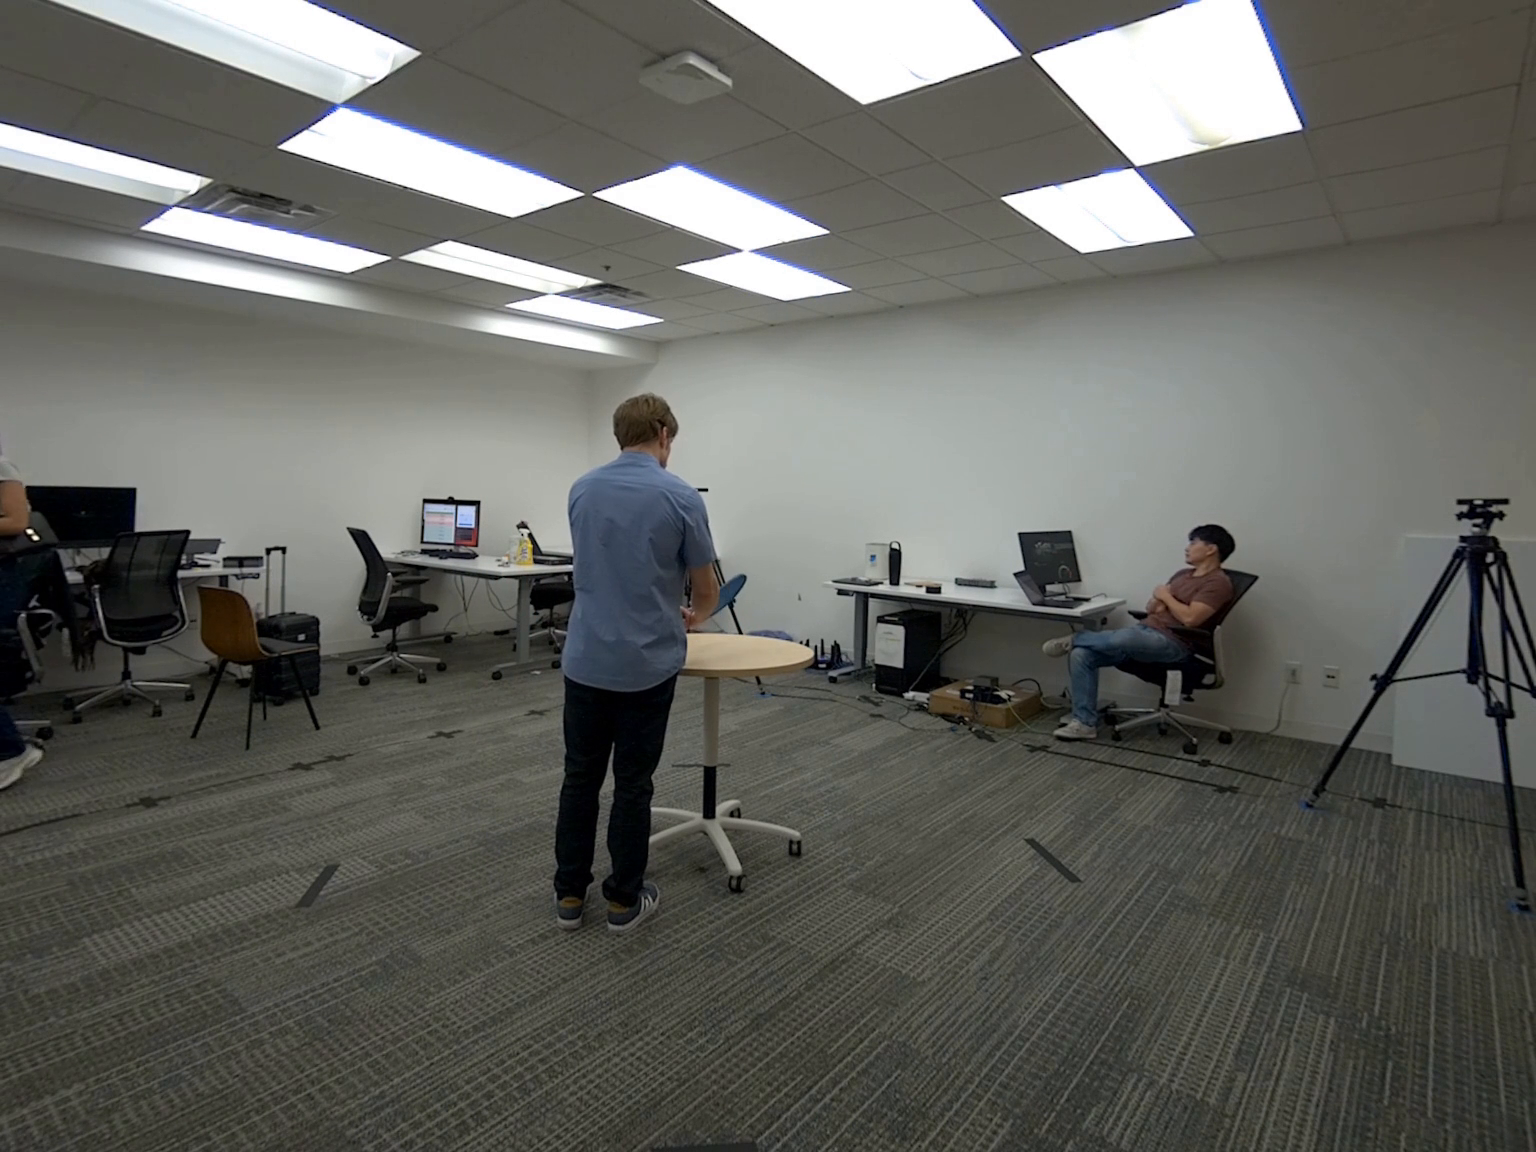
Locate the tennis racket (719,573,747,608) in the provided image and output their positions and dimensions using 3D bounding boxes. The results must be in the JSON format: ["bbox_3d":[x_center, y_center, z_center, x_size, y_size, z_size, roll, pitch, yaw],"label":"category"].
[{"bbox_3d":[-0.224,0.096,3.145,0.032,0.211,0.428,28,28,17],"label":"tennis racket"}]
